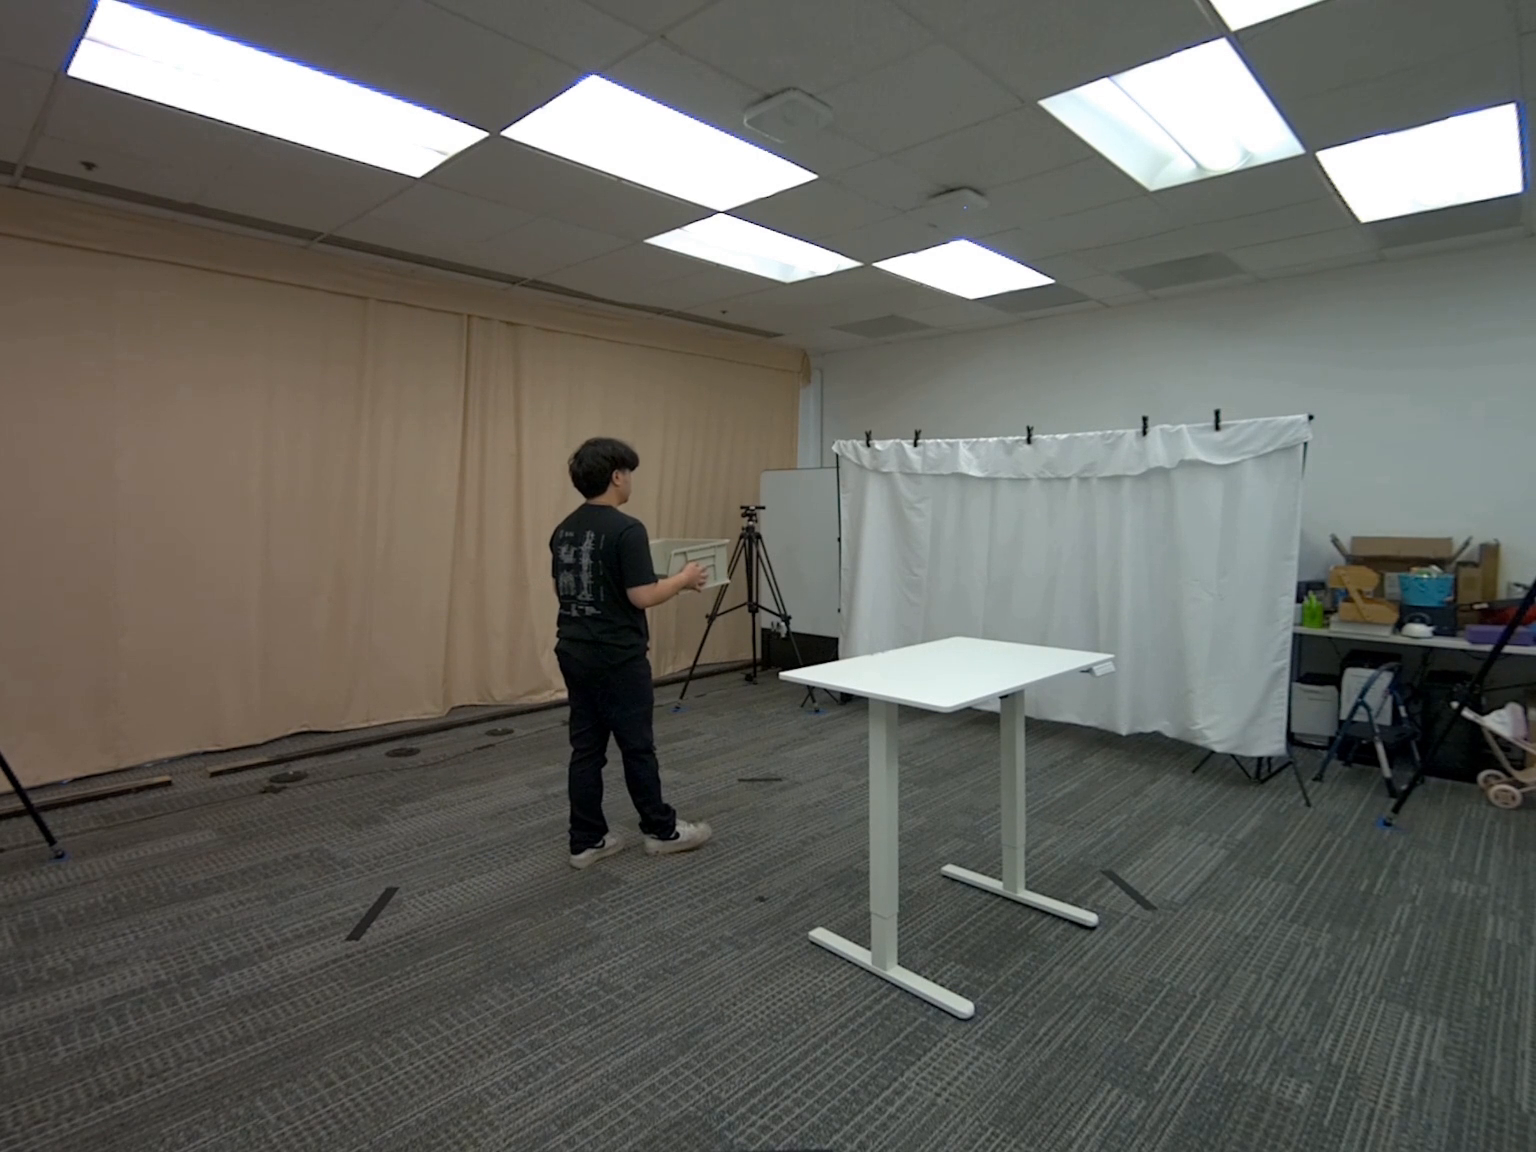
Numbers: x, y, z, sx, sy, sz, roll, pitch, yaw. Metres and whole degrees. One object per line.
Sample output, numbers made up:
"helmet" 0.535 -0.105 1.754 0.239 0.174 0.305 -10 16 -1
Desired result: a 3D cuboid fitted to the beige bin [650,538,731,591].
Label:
"beige bin" -0.425 -0.046 3.553 0.436 0.188 0.366 3 9 41
